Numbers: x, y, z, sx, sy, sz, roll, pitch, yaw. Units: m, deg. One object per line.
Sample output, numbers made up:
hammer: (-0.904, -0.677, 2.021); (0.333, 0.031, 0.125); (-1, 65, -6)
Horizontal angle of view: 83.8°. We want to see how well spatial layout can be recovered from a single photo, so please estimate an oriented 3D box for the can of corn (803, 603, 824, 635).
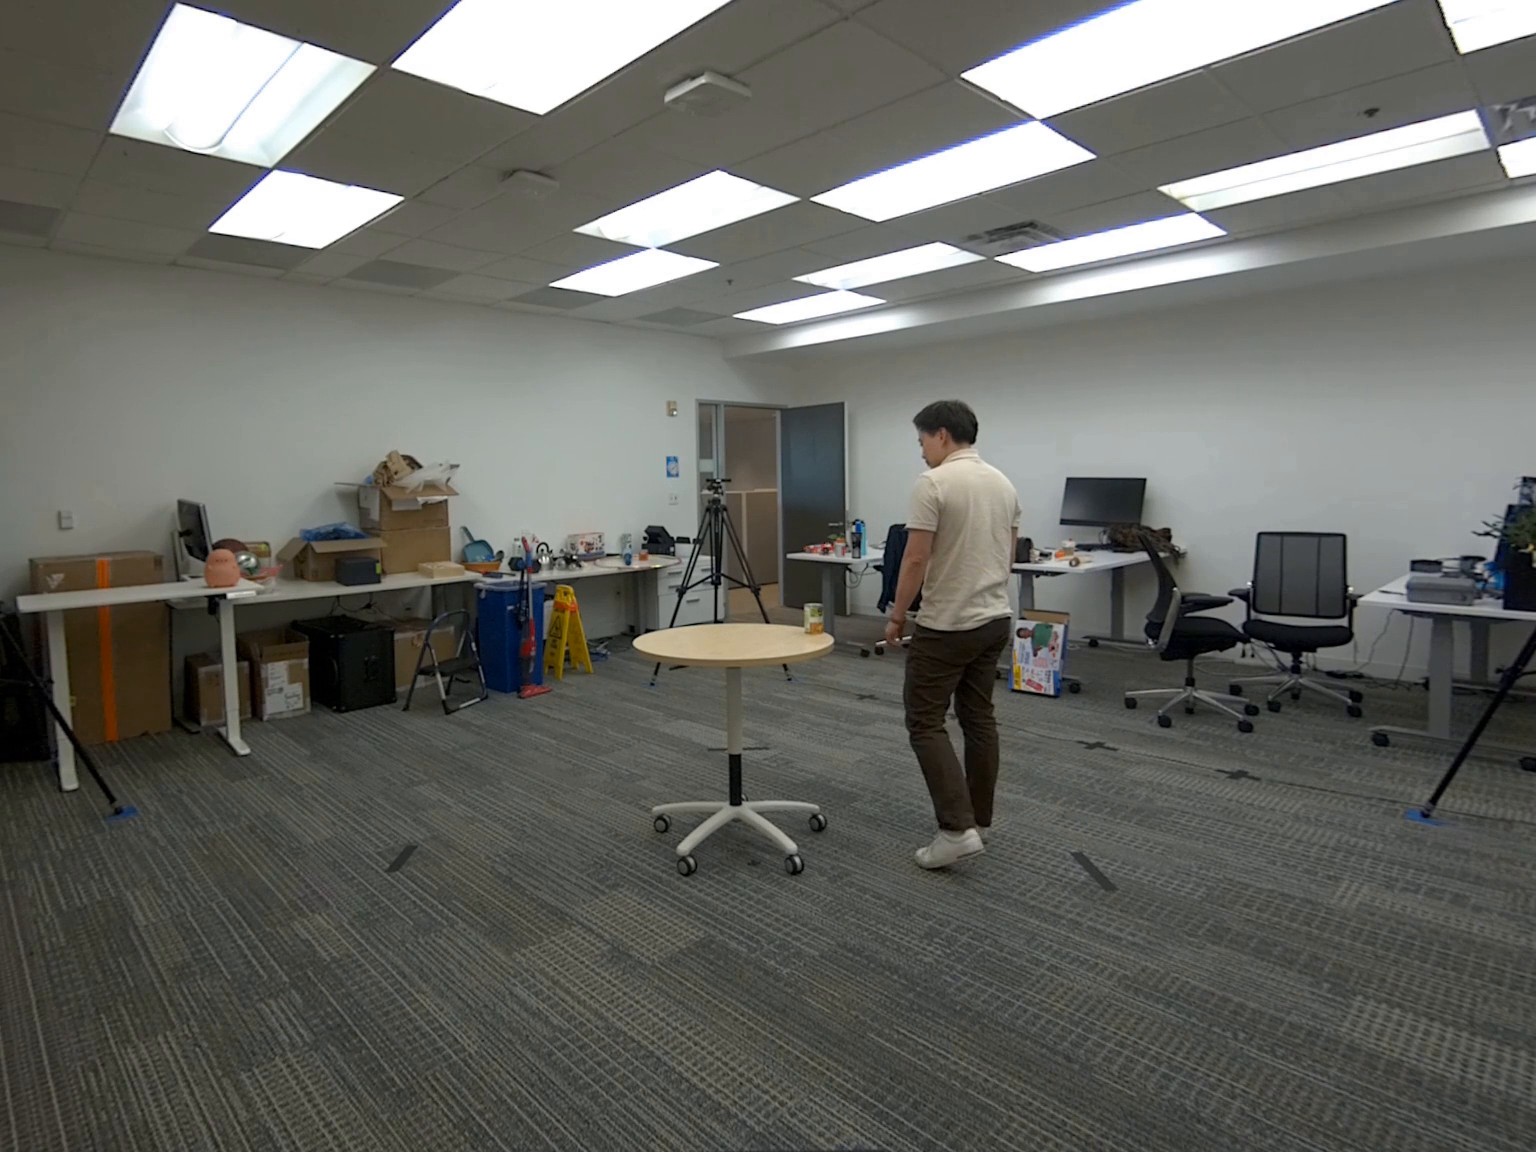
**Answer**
can of corn: (0.186, 0.168, 3.389); (0.074, 0.111, 0.074); (0, 2, -2)
